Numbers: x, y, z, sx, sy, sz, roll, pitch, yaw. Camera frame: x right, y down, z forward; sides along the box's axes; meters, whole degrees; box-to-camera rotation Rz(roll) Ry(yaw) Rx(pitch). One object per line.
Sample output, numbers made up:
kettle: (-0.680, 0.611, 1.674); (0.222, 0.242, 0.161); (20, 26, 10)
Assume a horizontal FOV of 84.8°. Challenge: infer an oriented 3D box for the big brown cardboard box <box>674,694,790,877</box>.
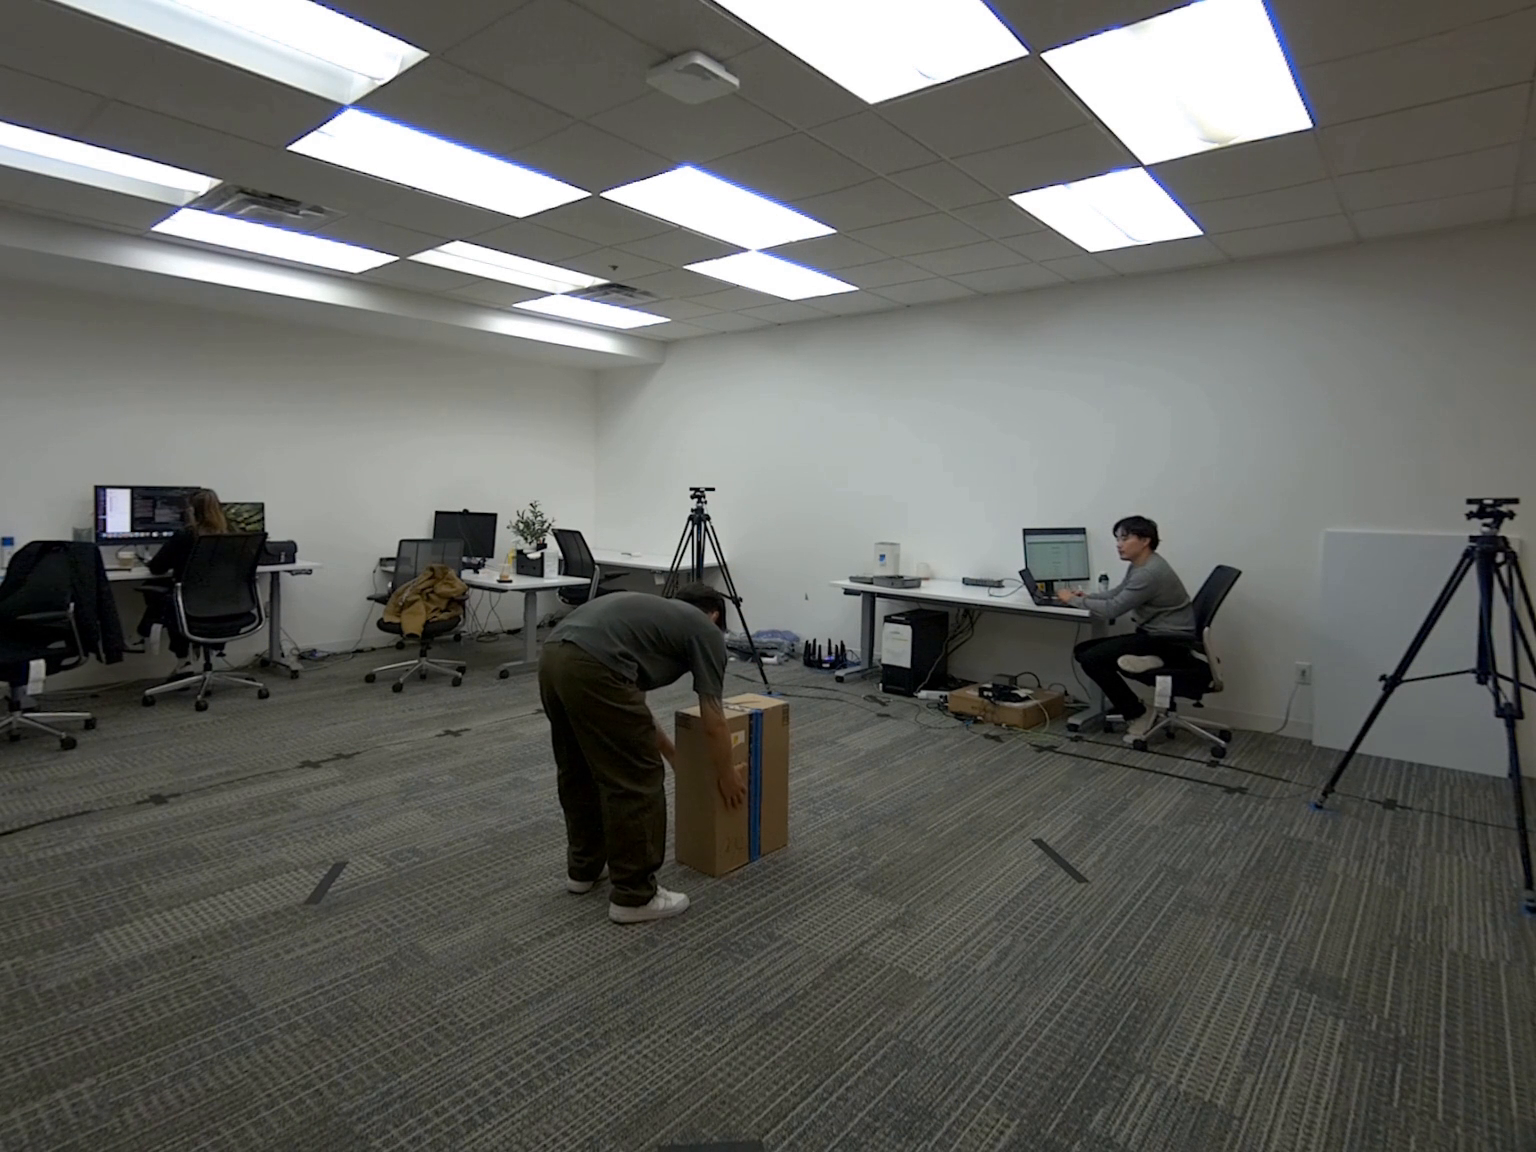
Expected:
big brown cardboard box: (-0.141, 0.768, 3.236); (0.241, 0.586, 0.405); (4, 6, 41)
